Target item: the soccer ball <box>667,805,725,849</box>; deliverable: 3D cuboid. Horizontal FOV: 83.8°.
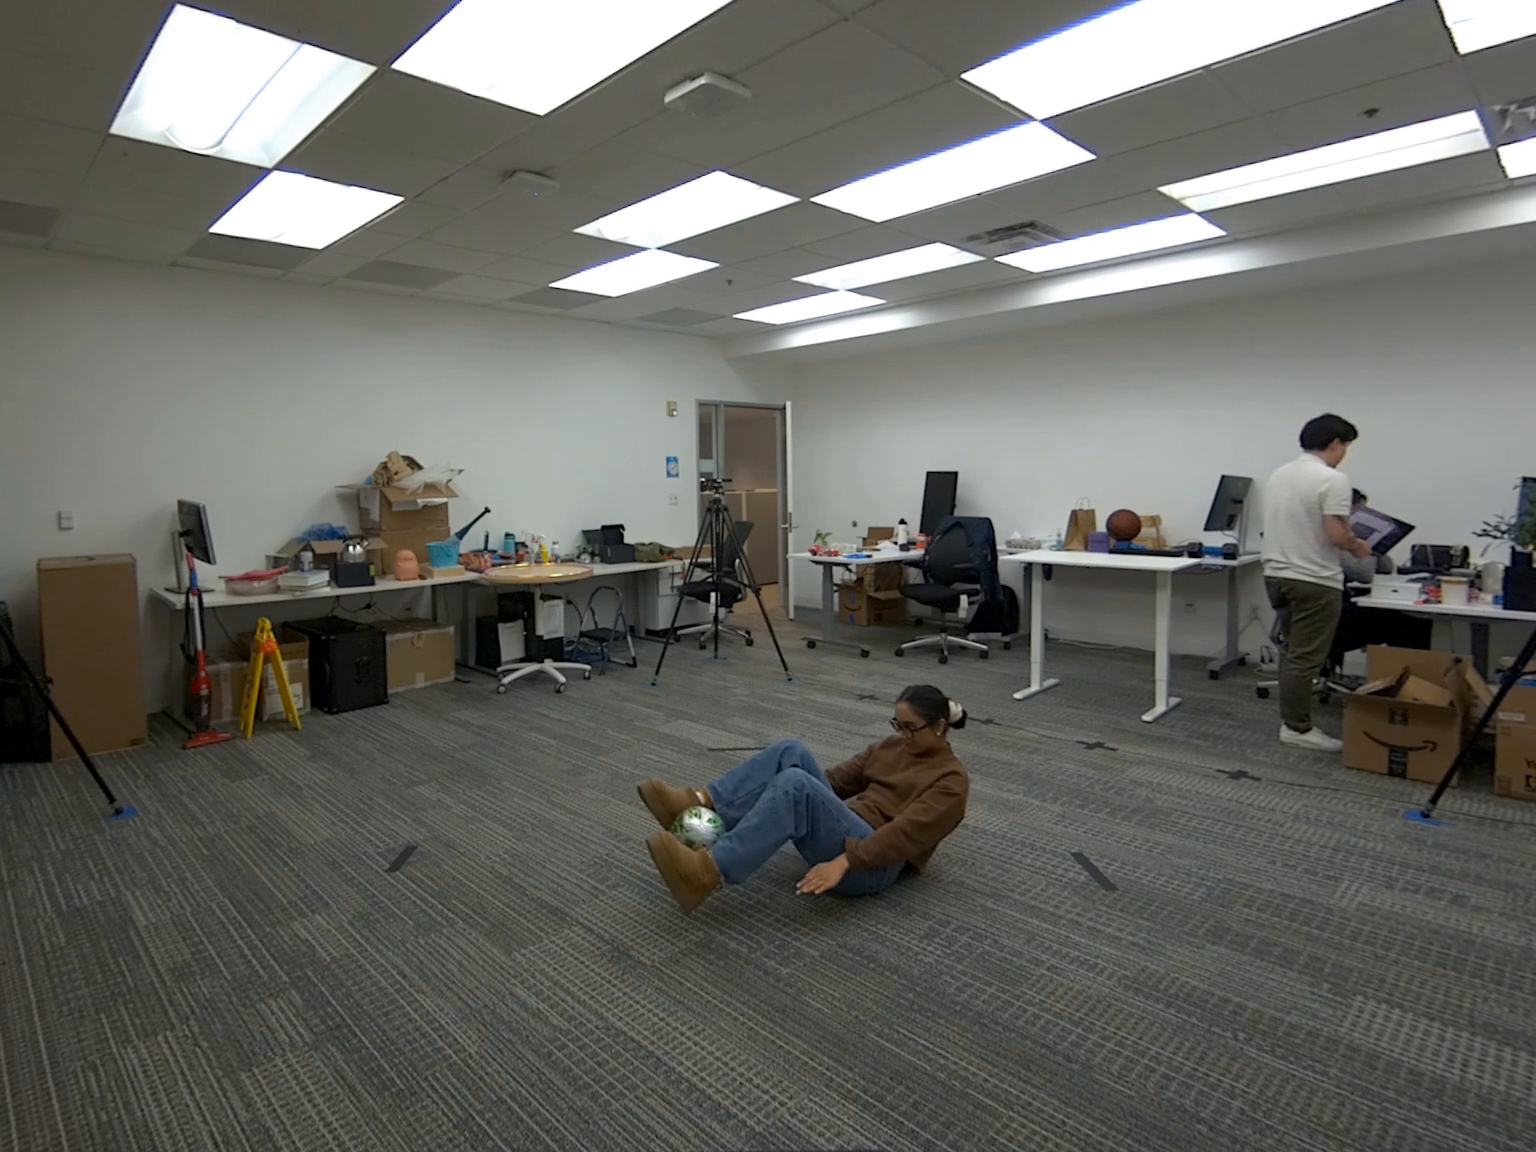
[{"bbox_3d":[-0.225,0.846,2.771,0.187,0.187,0.188,-1,5,-2],"label":"soccer ball"}]
